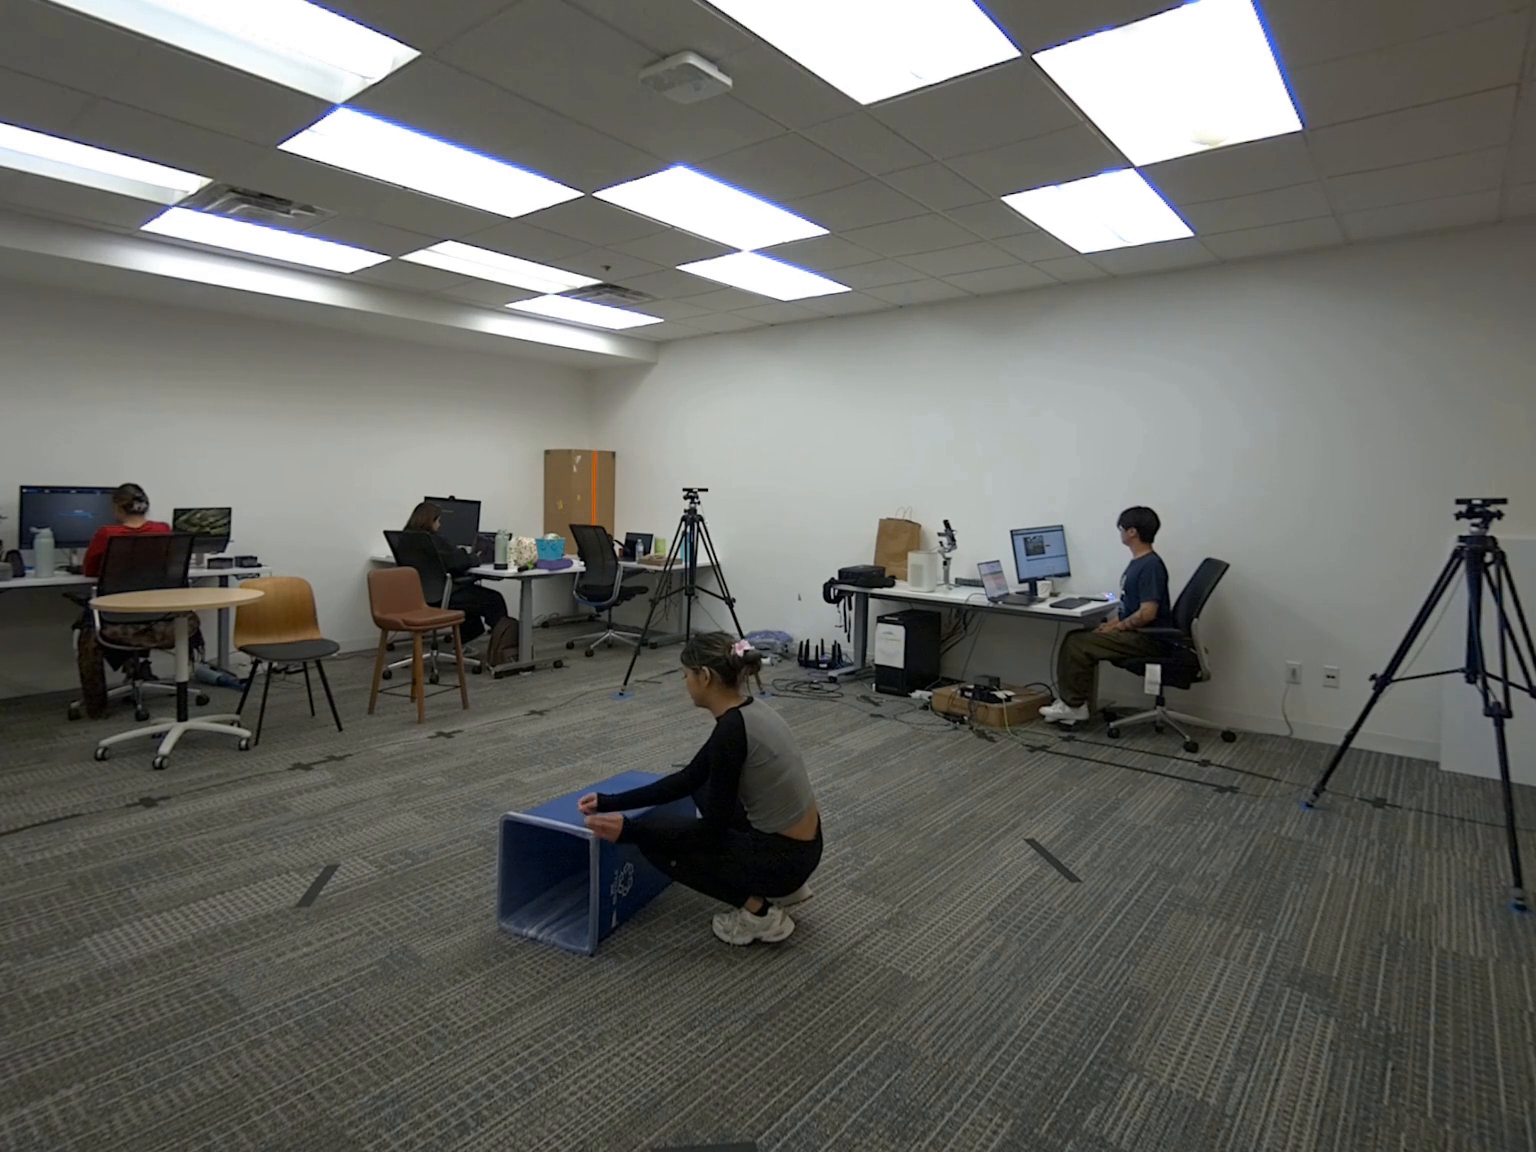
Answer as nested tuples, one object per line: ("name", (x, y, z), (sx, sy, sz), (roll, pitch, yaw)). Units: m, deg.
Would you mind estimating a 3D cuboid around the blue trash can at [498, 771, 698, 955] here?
("blue trash can", (-0.550, 0.915, 2.904), (0.384, 0.377, 0.697), (2, 3, 24))
